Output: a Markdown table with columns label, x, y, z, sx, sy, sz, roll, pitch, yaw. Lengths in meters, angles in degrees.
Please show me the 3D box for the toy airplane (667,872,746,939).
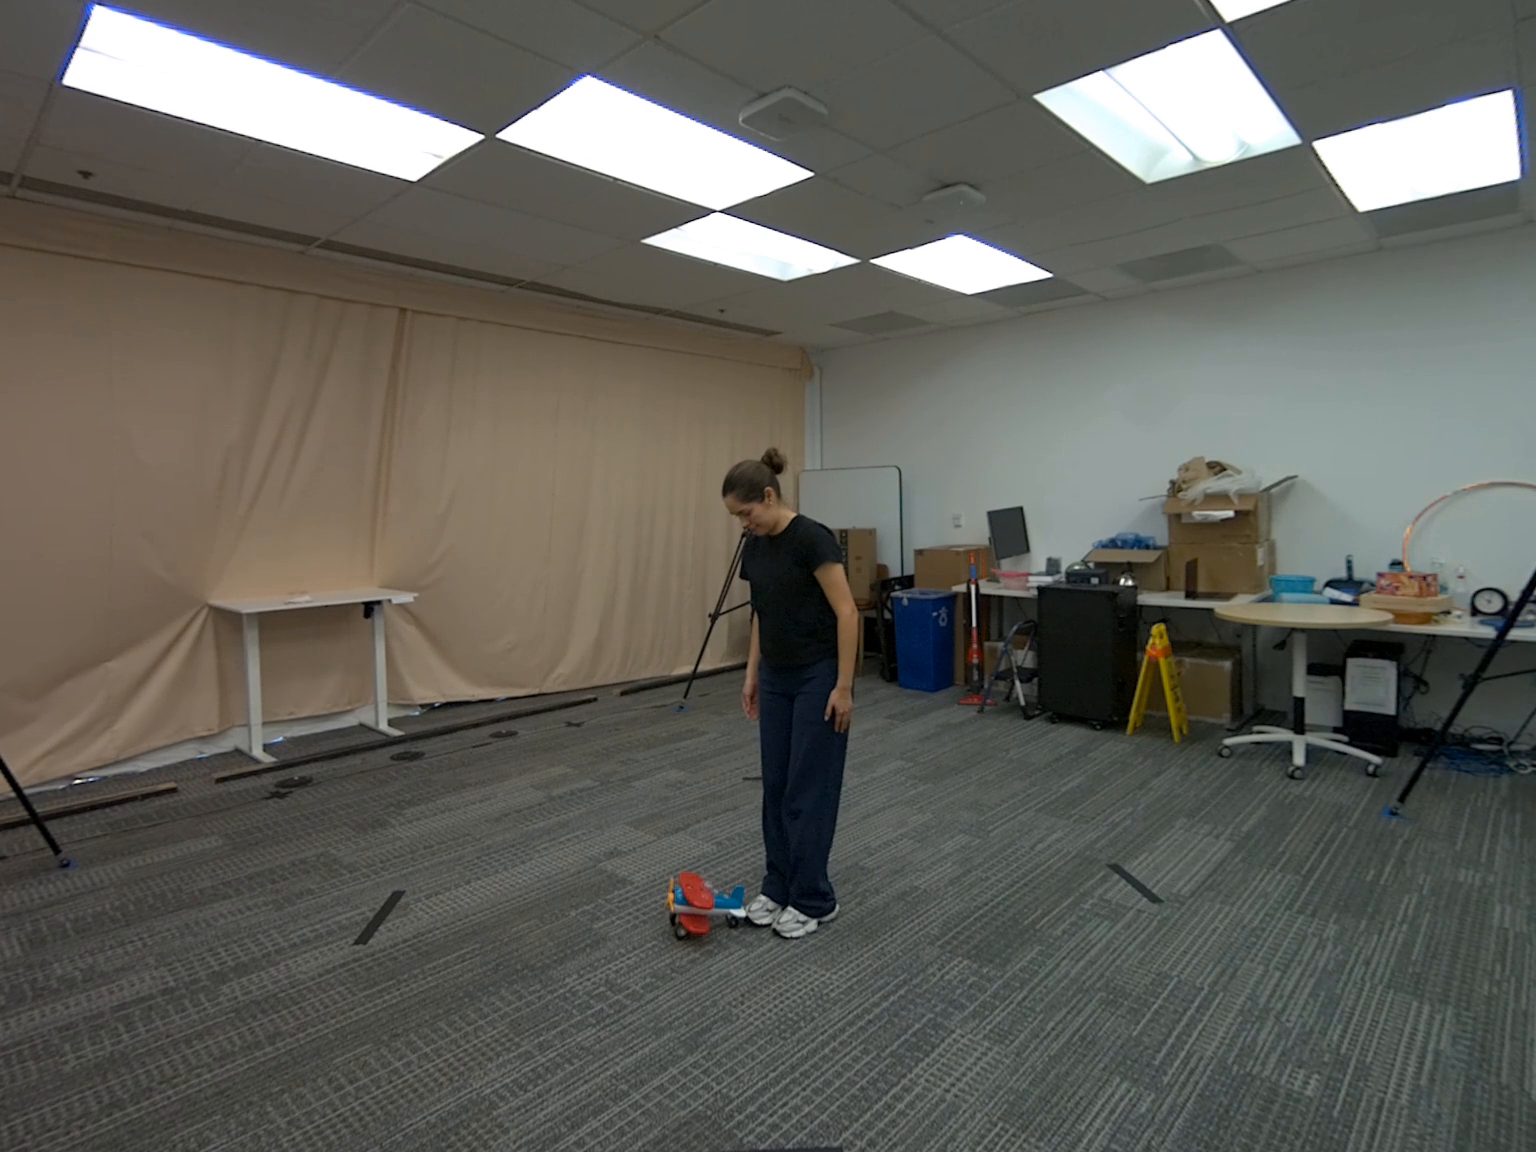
| label | x | y | z | sx | sy | sz | roll | pitch | yaw |
| --- | --- | --- | --- | --- | --- | --- | --- | --- | --- |
| toy airplane | -0.195 | 1.088 | 2.785 | 0.251 | 0.156 | 0.259 | -4 | 5 | -39 |
